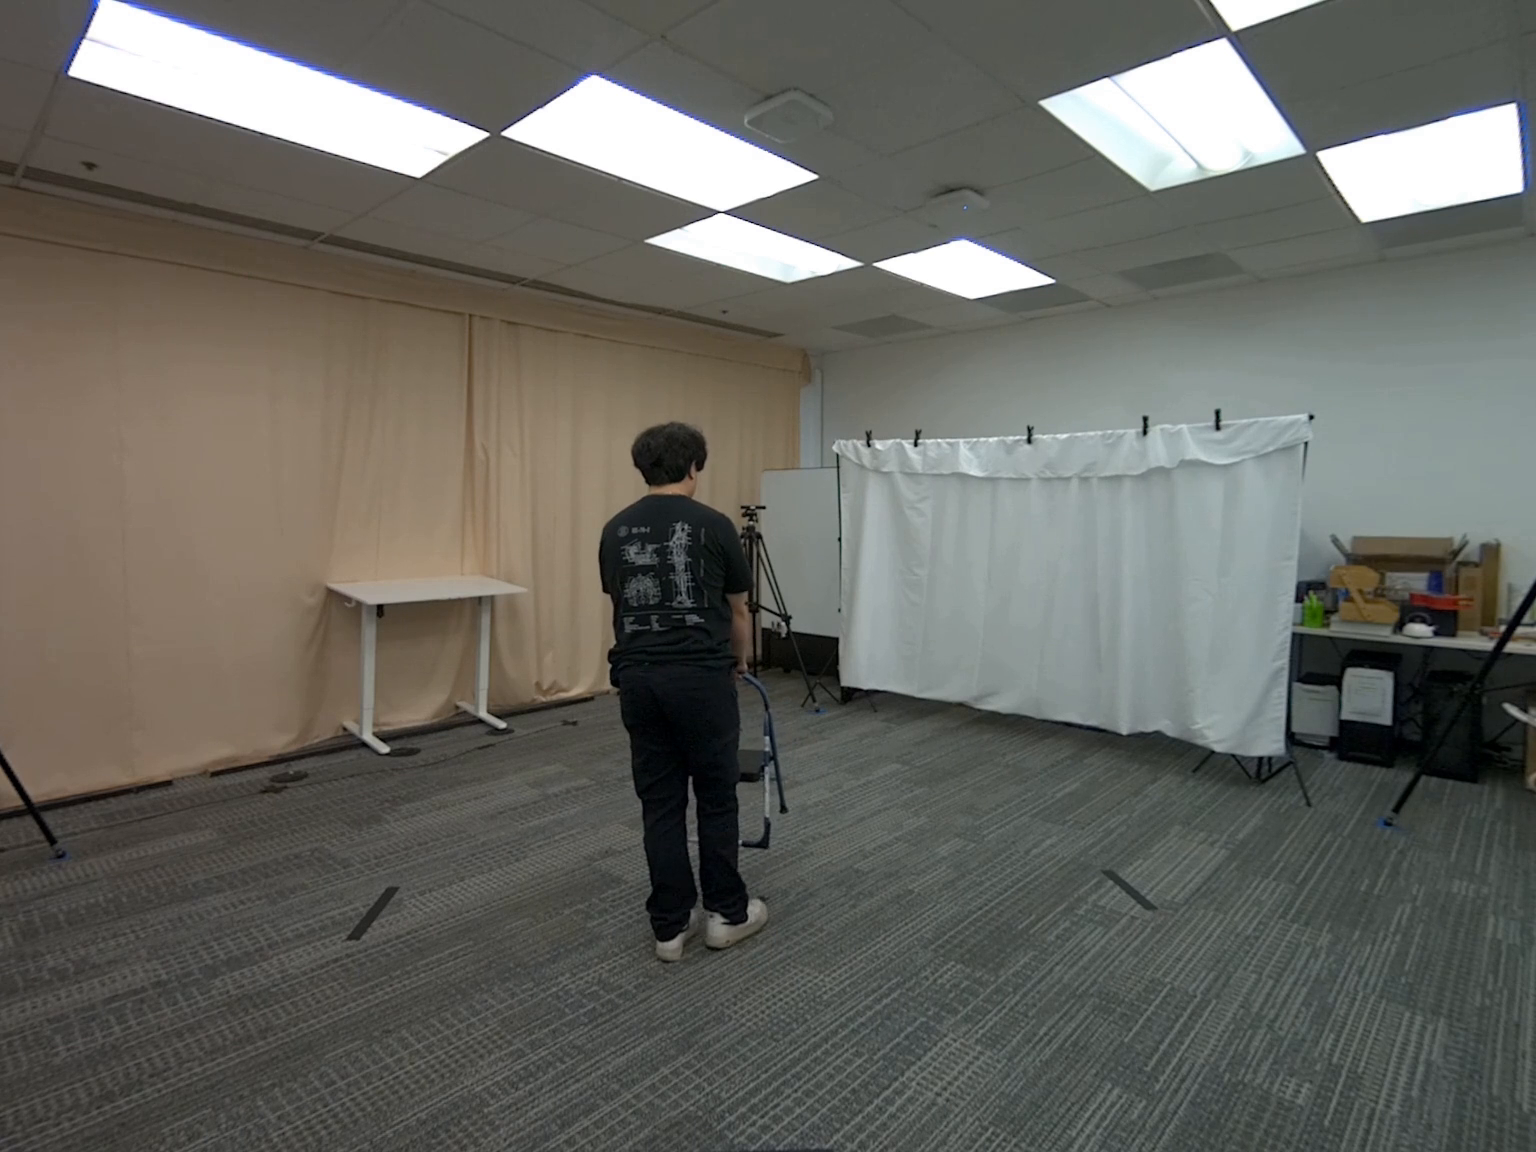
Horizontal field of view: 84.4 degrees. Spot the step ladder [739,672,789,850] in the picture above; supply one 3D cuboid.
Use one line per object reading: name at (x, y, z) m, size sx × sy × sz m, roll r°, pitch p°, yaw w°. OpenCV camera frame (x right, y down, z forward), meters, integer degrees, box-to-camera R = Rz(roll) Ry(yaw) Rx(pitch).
step ladder at (-0.180, 0.619, 3.034) m, size 0.437 × 0.604 × 0.345 m, roll -2°, pitch 6°, yaw 14°
